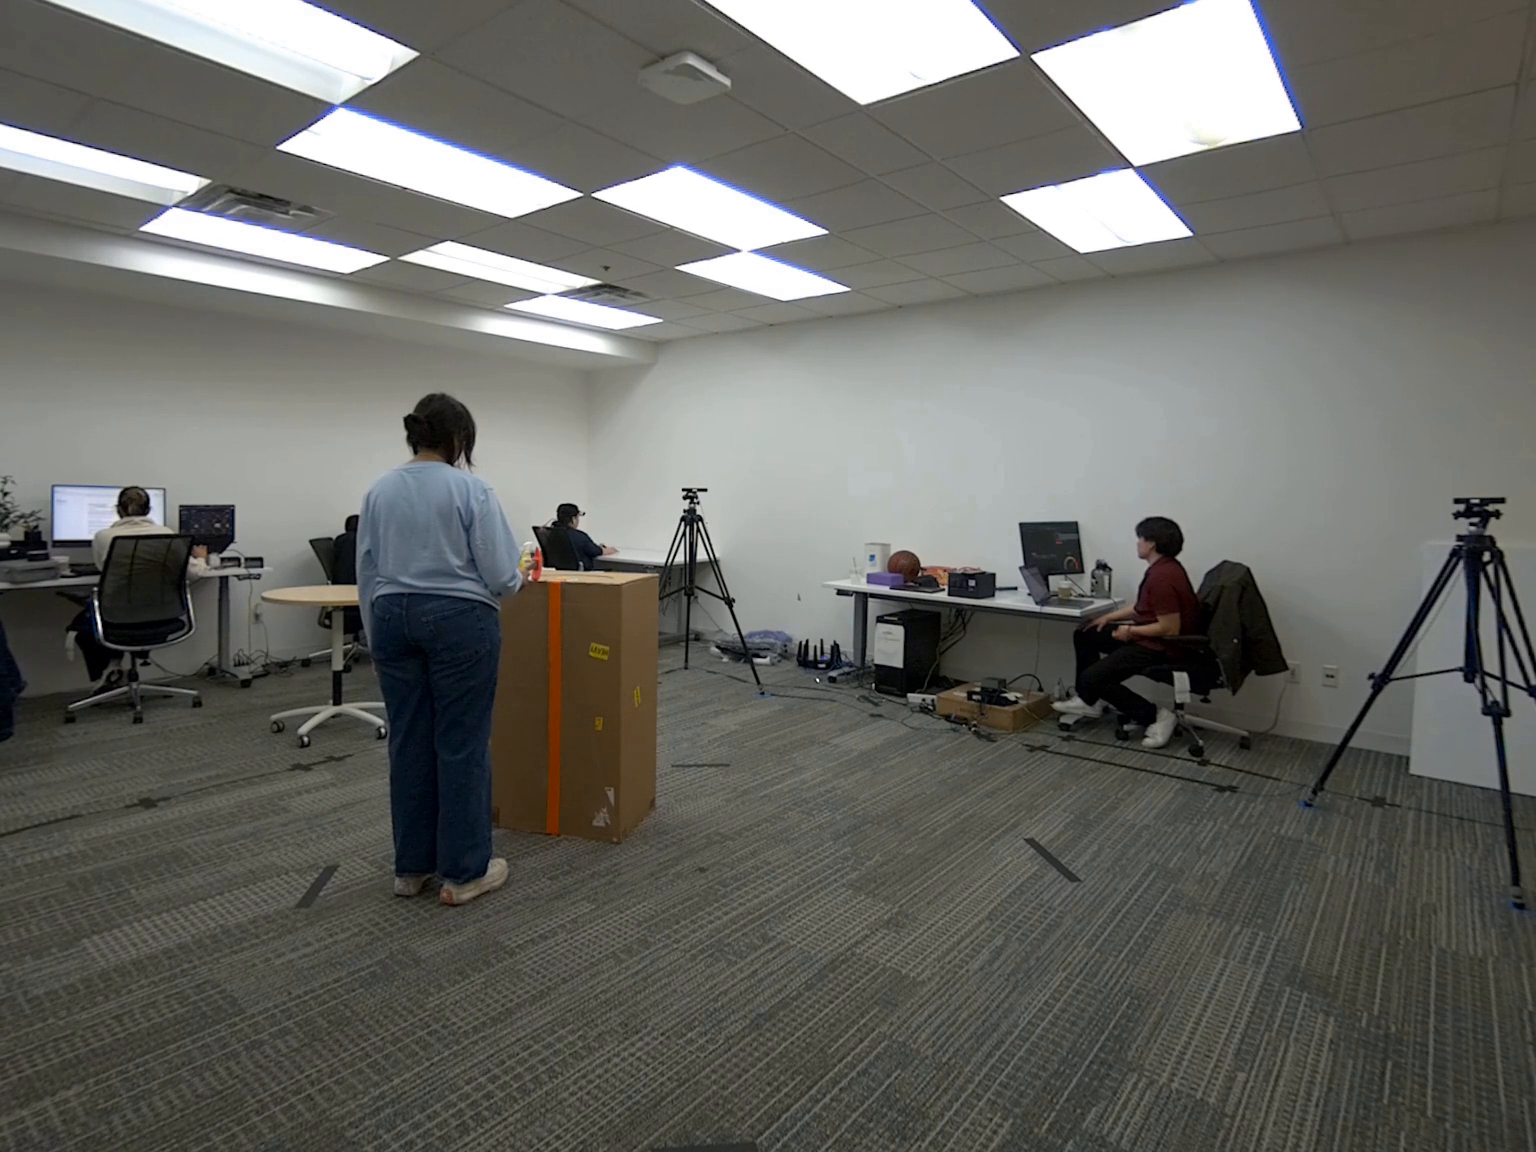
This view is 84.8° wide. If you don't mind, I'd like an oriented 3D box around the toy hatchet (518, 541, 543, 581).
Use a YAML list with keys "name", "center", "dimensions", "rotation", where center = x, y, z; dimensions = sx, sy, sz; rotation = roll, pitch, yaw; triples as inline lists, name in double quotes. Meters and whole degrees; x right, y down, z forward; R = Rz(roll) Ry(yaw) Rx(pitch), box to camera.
- name: "toy hatchet"
  center: [-0.924, -0.003, 3.287]
  dimensions: [0.029, 0.128, 0.278]
  rotation: [3, 27, -10]
